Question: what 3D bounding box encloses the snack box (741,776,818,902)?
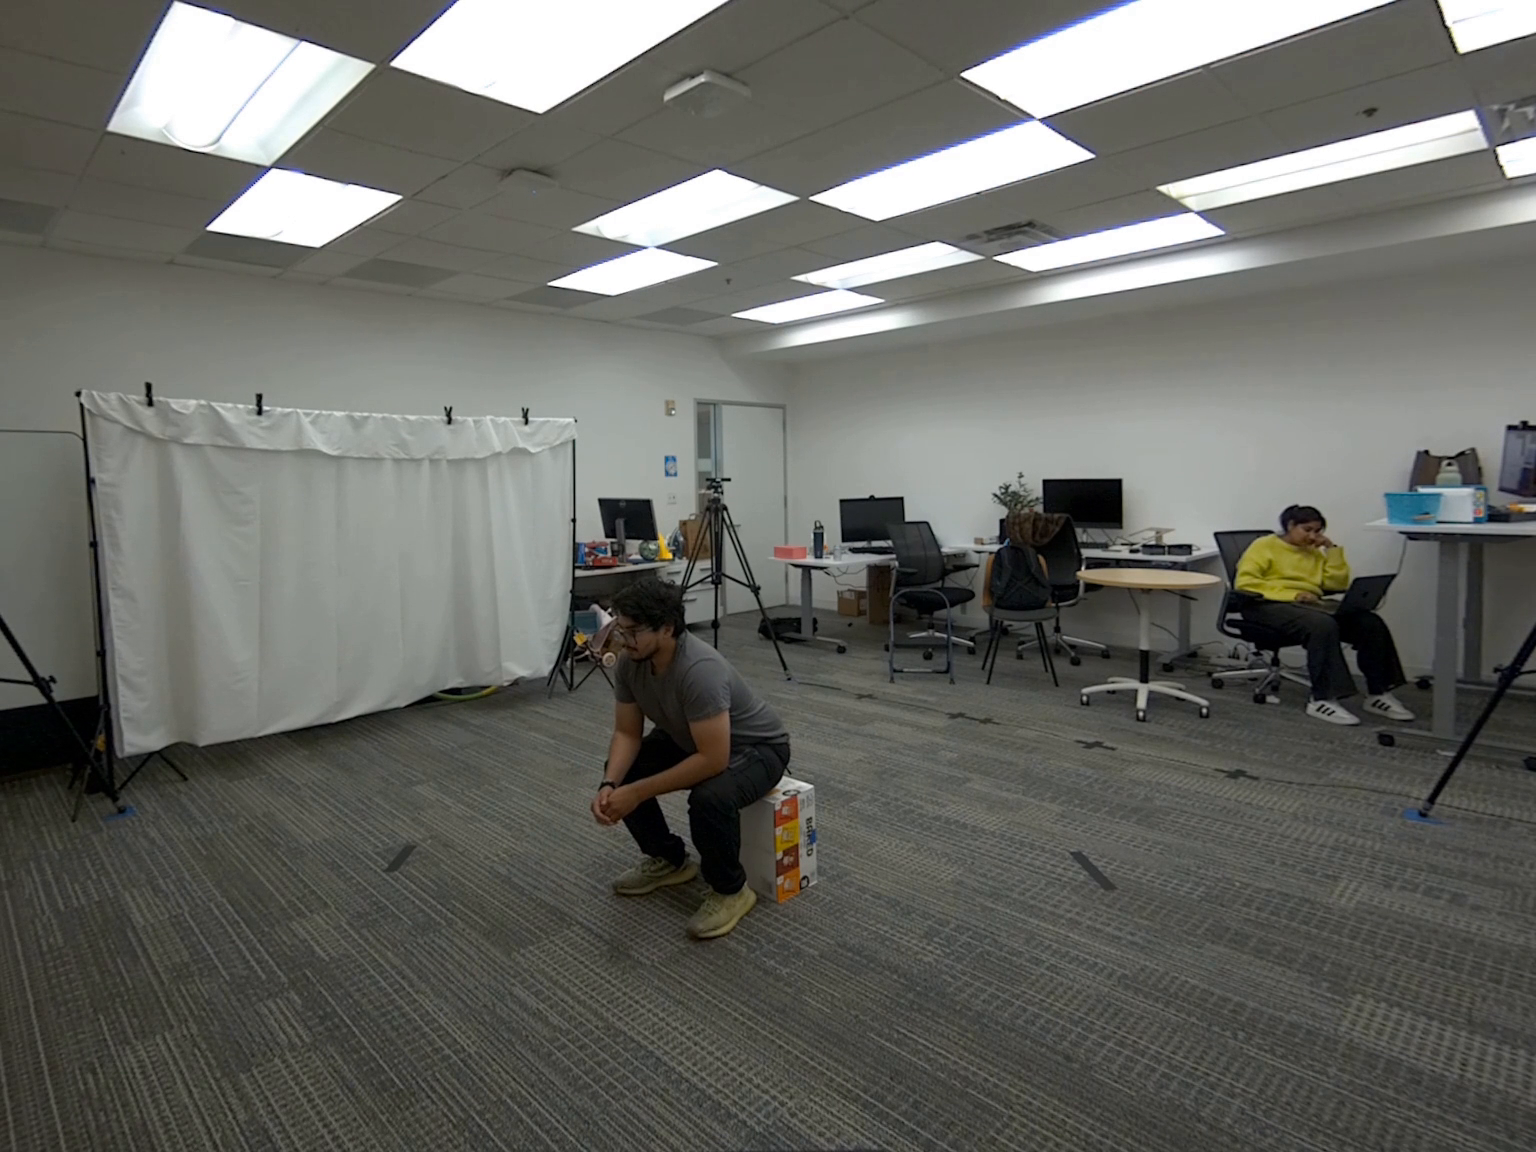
[{"bbox_3d":[-0.043,0.885,3.017,0.200,0.339,0.417,-6,7,-45],"label":"snack box"}]
